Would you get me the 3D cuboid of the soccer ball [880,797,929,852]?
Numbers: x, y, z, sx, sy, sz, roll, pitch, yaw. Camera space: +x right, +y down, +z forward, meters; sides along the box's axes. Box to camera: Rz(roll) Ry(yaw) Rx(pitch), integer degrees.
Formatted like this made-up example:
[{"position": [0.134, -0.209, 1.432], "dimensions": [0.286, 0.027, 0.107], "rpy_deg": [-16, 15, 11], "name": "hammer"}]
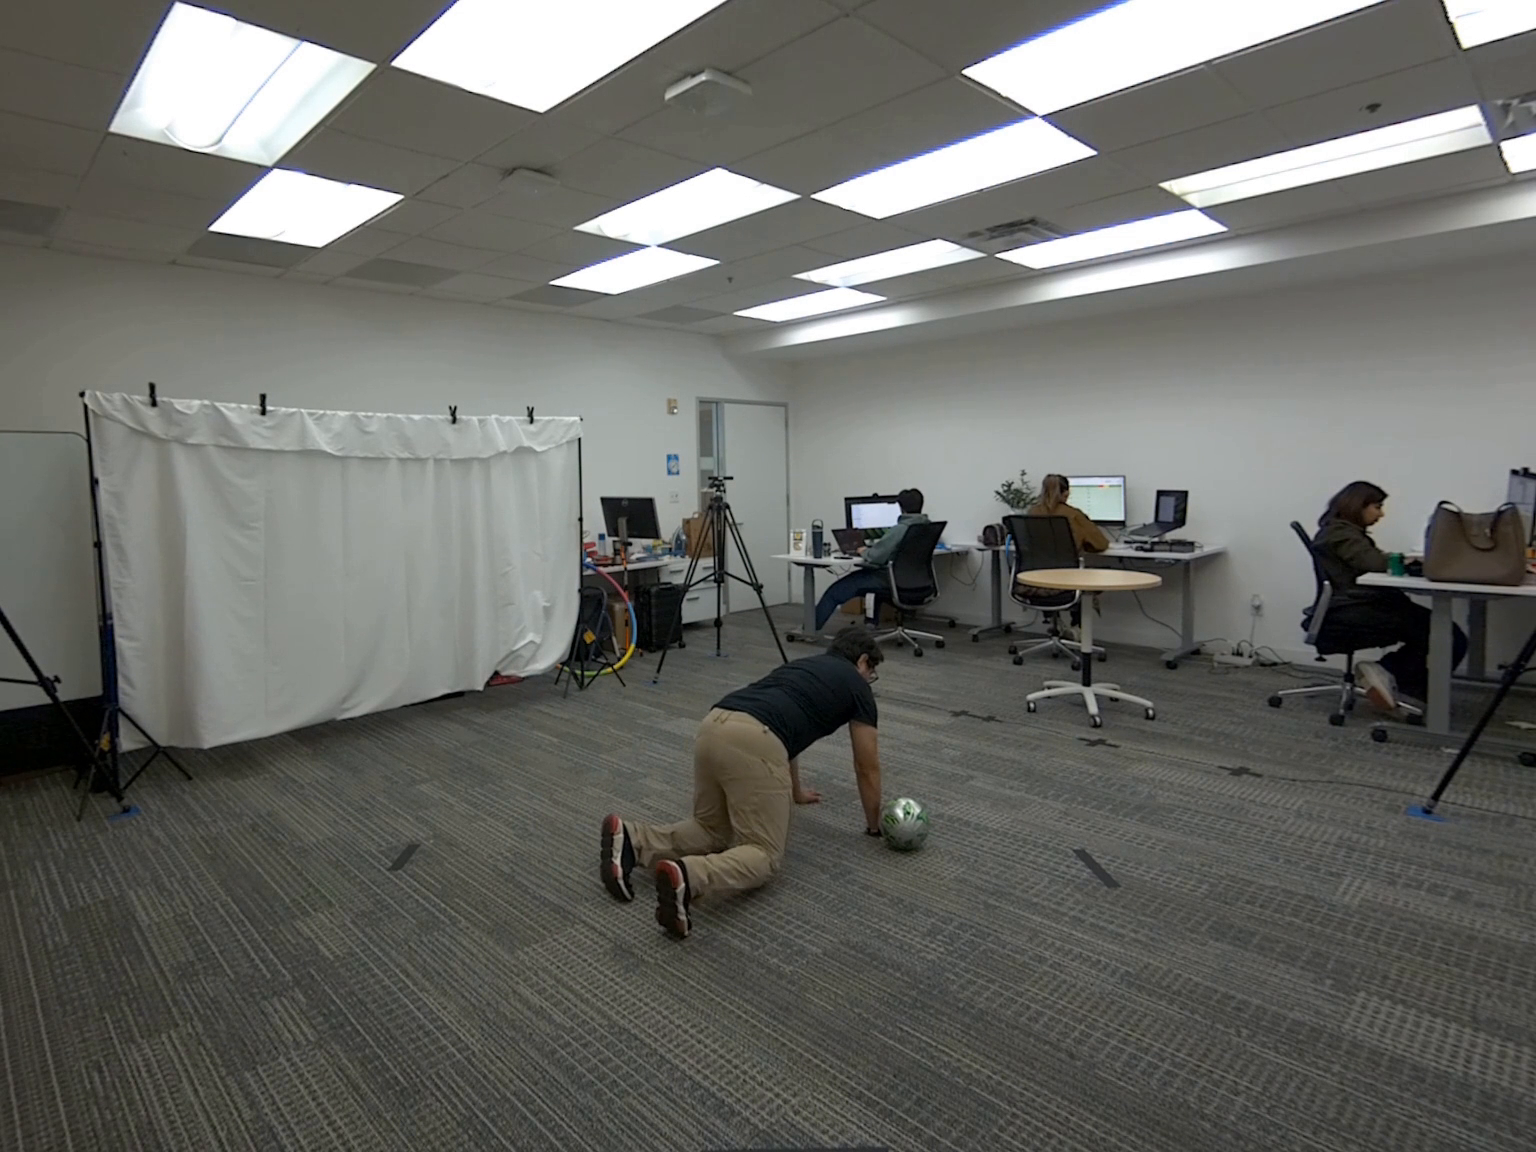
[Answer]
[{"position": [0.506, 0.920, 3.187], "dimensions": [0.187, 0.187, 0.188], "rpy_deg": [-1, 5, -2], "name": "soccer ball"}]
